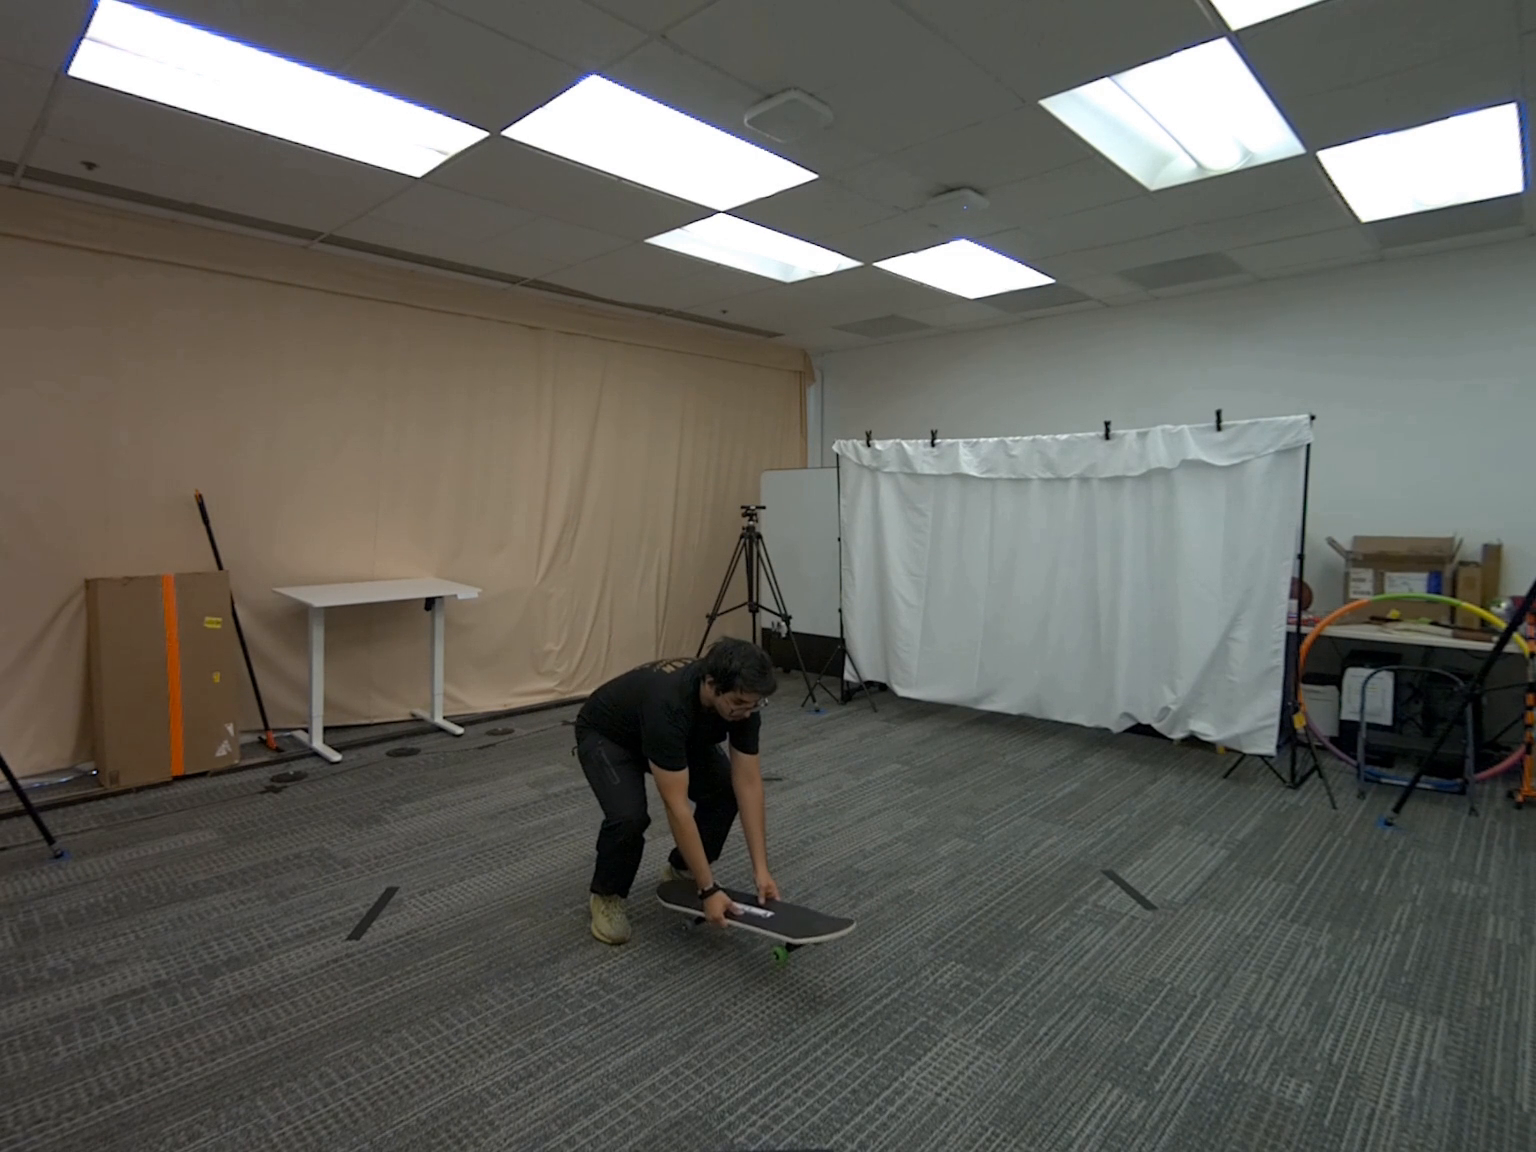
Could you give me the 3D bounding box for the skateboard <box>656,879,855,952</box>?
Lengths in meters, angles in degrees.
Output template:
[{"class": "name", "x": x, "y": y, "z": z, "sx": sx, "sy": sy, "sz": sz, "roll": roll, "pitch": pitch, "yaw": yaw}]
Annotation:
[{"class": "skateboard", "x": -0.057, "y": 1.039, "z": 2.542, "sx": 0.187, "sy": 0.110, "sz": 0.808, "roll": -4, "pitch": -3, "yaw": -44}]
